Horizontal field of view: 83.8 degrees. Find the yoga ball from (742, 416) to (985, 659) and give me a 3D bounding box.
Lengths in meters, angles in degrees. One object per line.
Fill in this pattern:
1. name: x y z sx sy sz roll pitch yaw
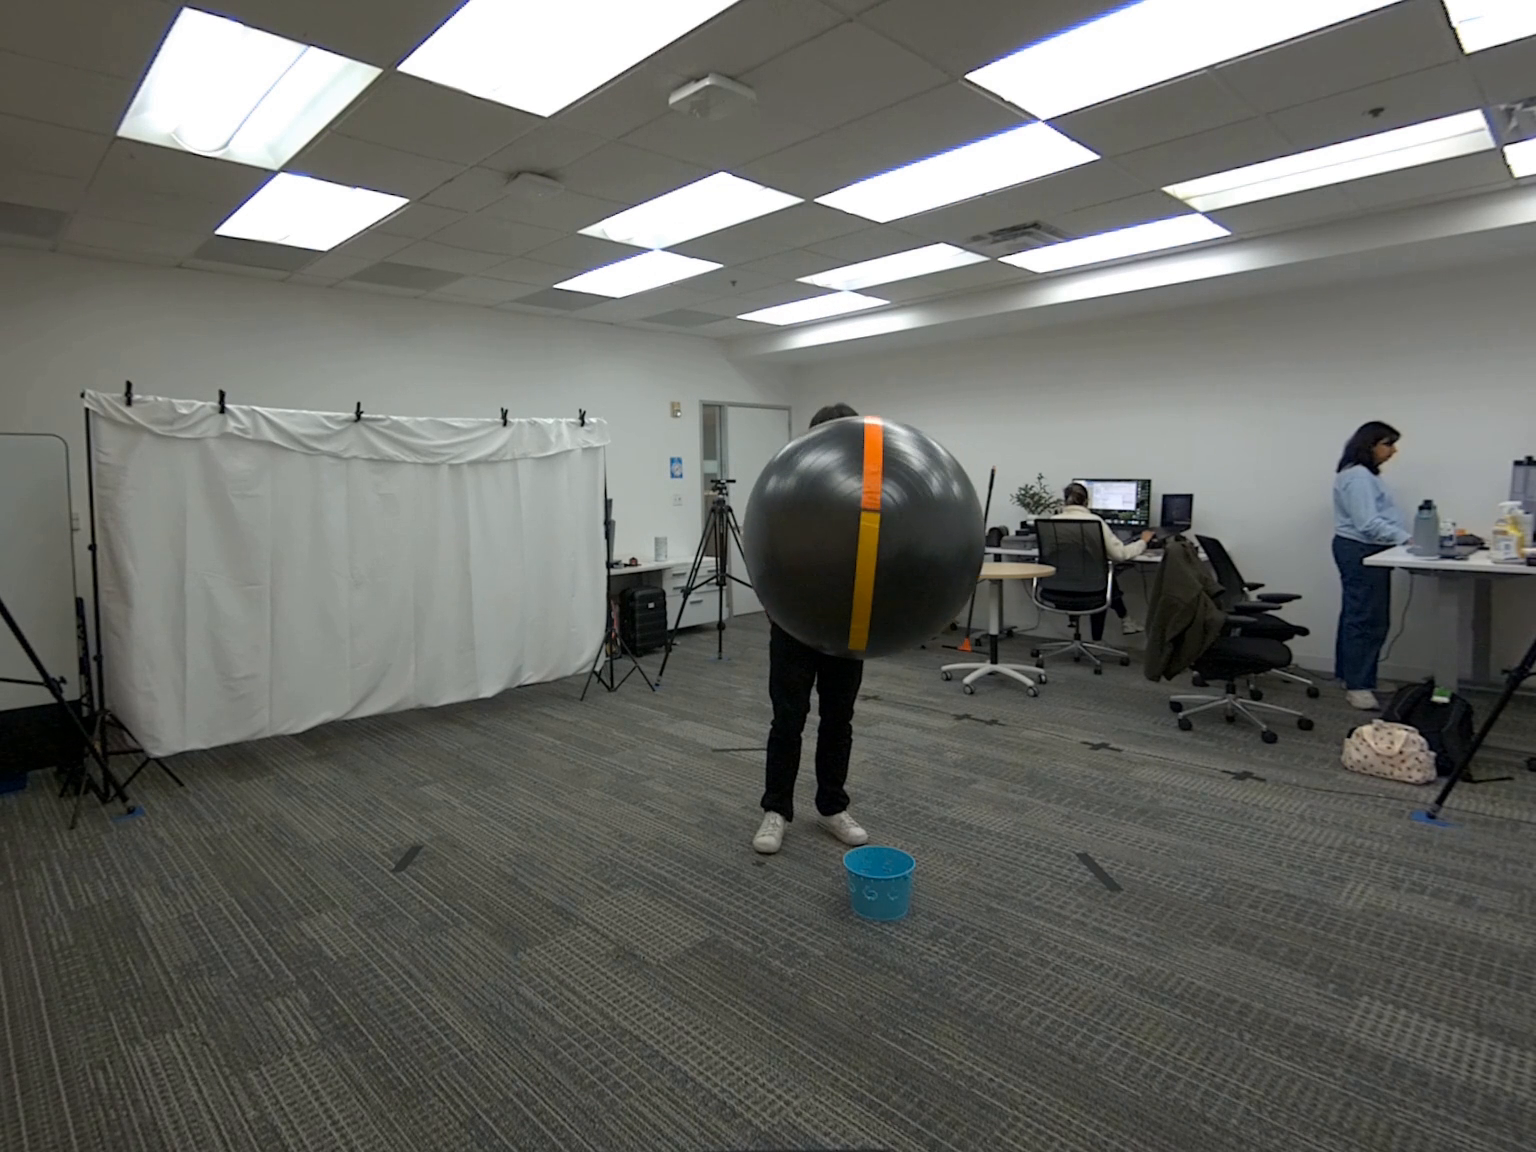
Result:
1. yoga ball: 0.303 -0.115 2.699 0.757 0.755 0.762 -1 5 -2
